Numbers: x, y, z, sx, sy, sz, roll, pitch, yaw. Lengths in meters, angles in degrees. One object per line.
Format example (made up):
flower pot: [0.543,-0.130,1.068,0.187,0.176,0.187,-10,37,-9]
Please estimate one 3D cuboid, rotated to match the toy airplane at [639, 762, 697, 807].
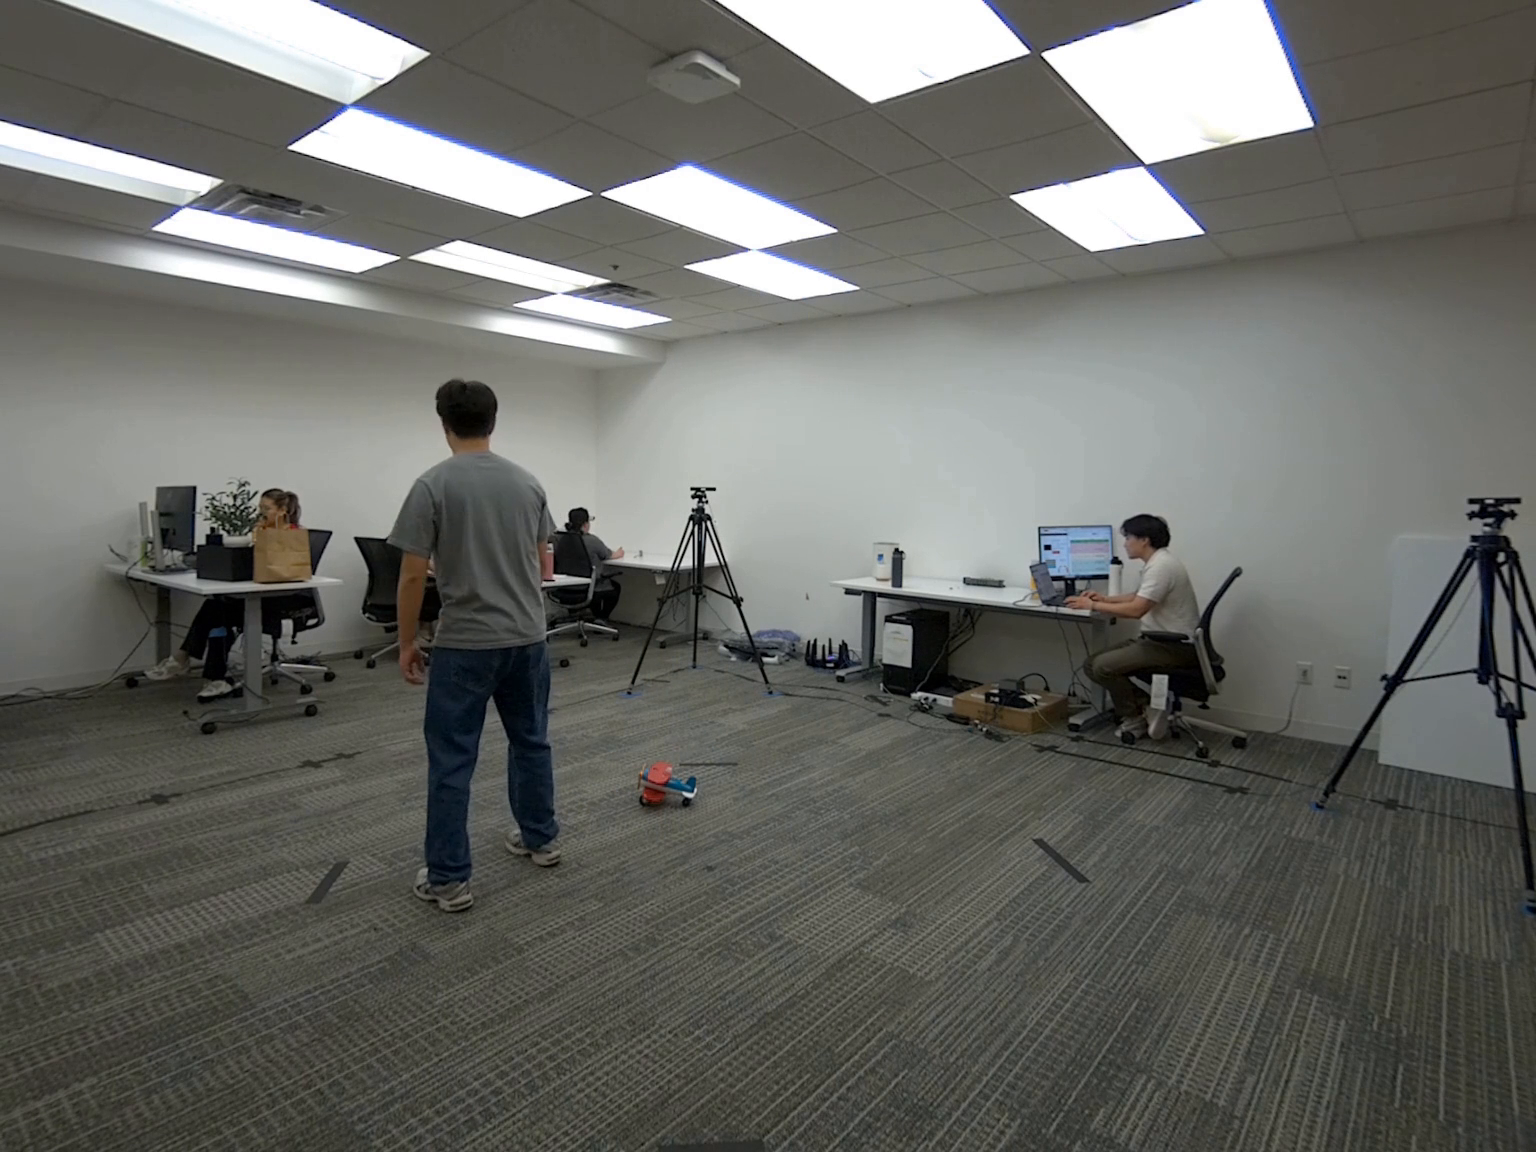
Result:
toy airplane: [-0.462,0.923,3.760,0.254,0.156,0.257,-2,5,-22]
